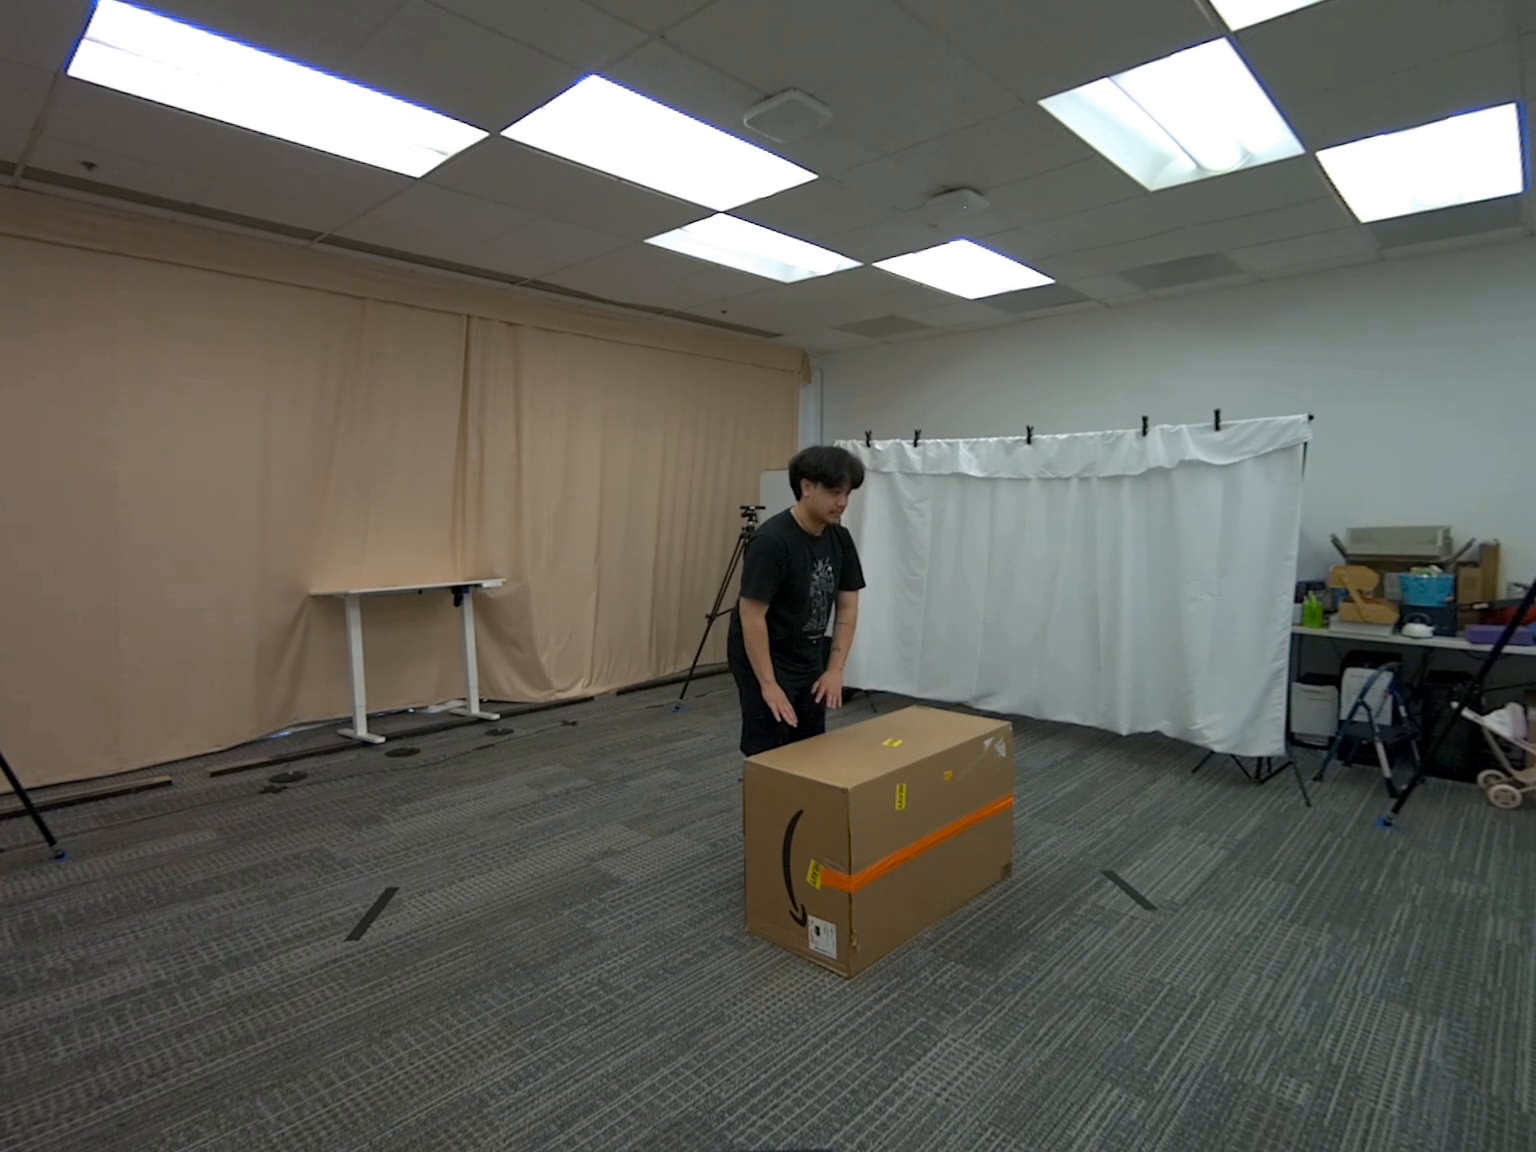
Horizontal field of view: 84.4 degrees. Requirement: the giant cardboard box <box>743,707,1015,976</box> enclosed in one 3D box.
[{"bbox_3d":[0.429,0.861,2.953,0.462,0.582,0.996,5,7,43],"label":"giant cardboard box"}]
